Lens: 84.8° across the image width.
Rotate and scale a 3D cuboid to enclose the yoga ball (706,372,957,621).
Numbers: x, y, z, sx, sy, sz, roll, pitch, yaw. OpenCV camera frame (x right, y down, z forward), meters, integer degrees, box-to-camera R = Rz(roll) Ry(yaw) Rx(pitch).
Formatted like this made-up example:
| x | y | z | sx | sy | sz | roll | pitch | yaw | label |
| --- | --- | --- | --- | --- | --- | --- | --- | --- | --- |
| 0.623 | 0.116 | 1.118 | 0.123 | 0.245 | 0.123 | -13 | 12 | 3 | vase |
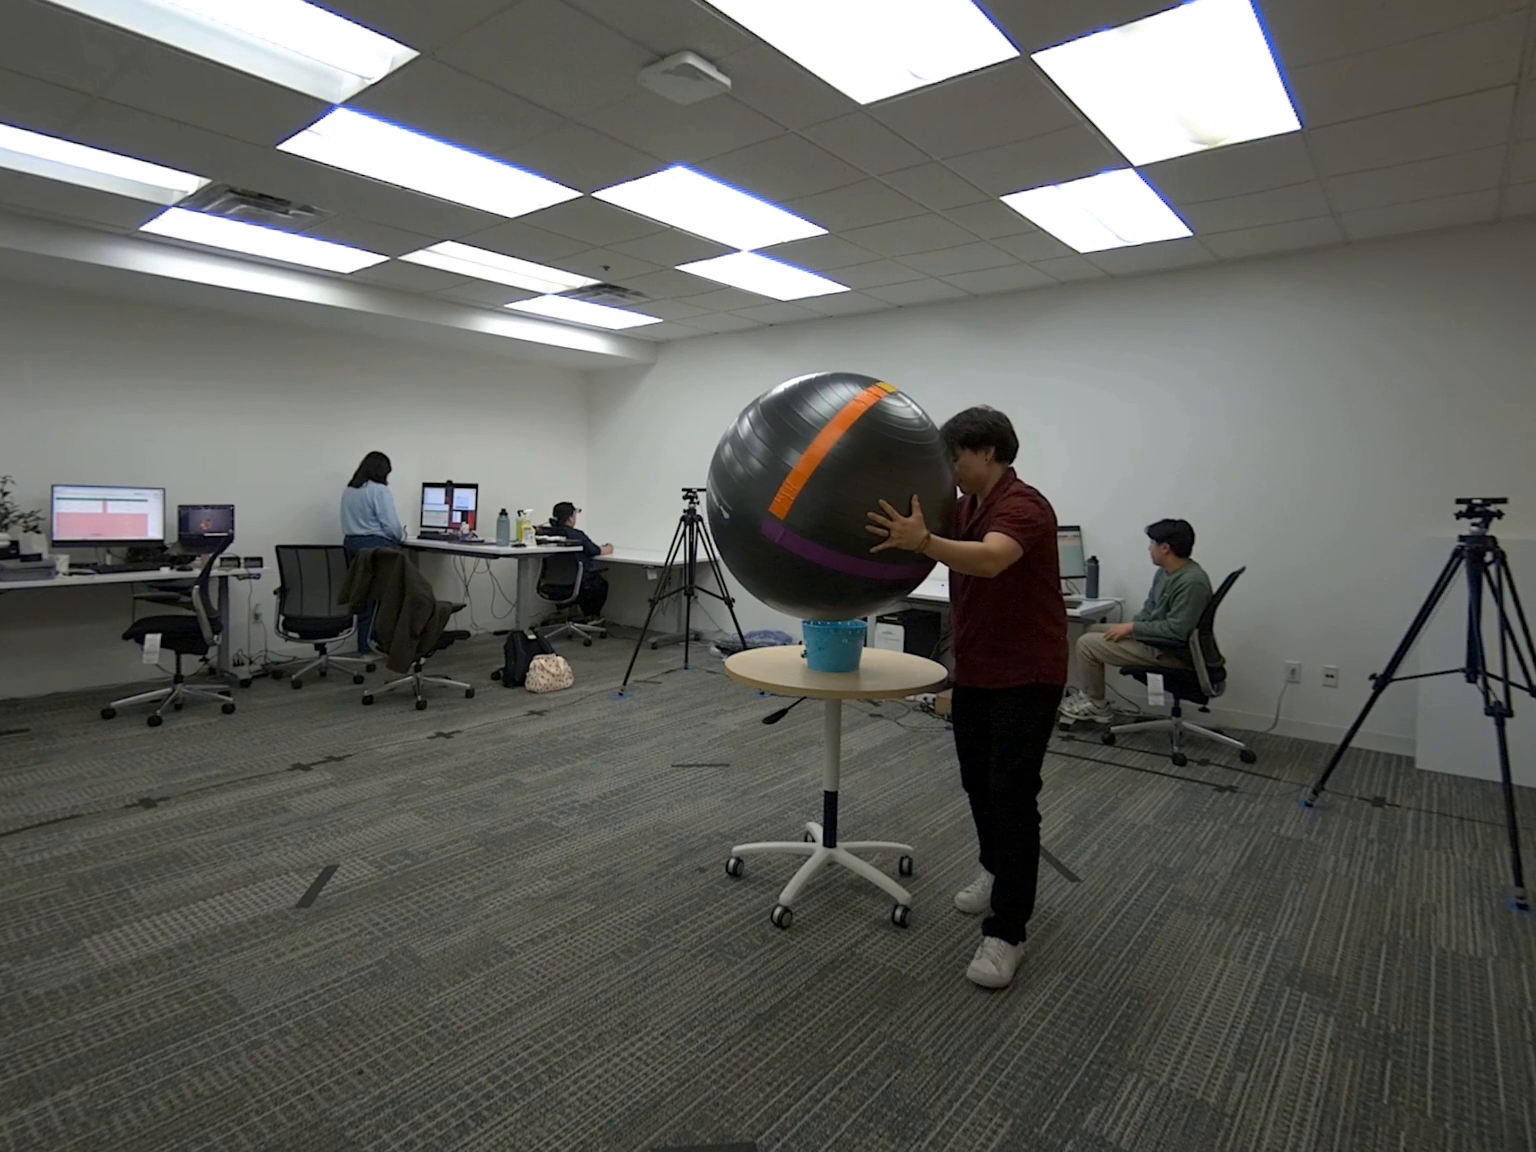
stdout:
| x | y | z | sx | sy | sz | roll | pitch | yaw | label |
| --- | --- | --- | --- | --- | --- | --- | --- | --- | --- |
| 0.188 | -0.243 | 2.599 | 0.757 | 0.756 | 0.761 | 1 | 4 | -2 | yoga ball |
